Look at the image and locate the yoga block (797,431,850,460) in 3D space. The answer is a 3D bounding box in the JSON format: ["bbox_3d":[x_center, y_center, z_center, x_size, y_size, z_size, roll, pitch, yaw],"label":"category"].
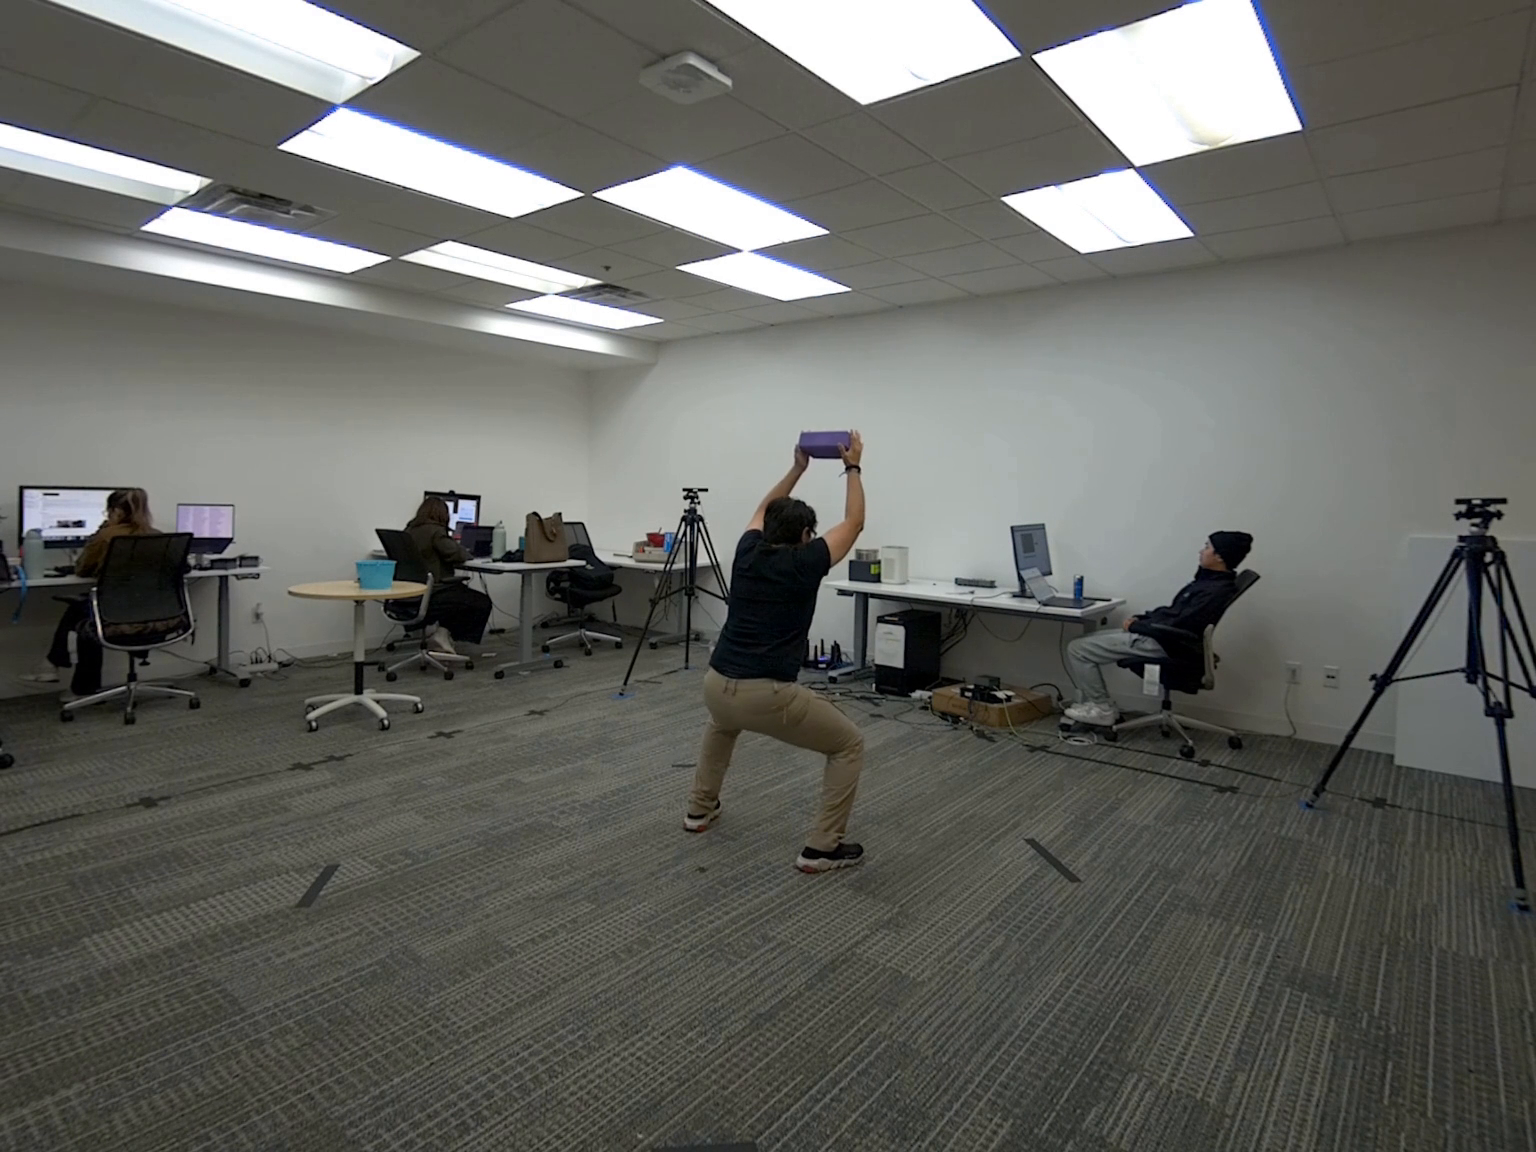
[{"bbox_3d":[0.245,-0.563,3.587,0.237,0.077,0.143,5,-13,36],"label":"yoga block"}]
